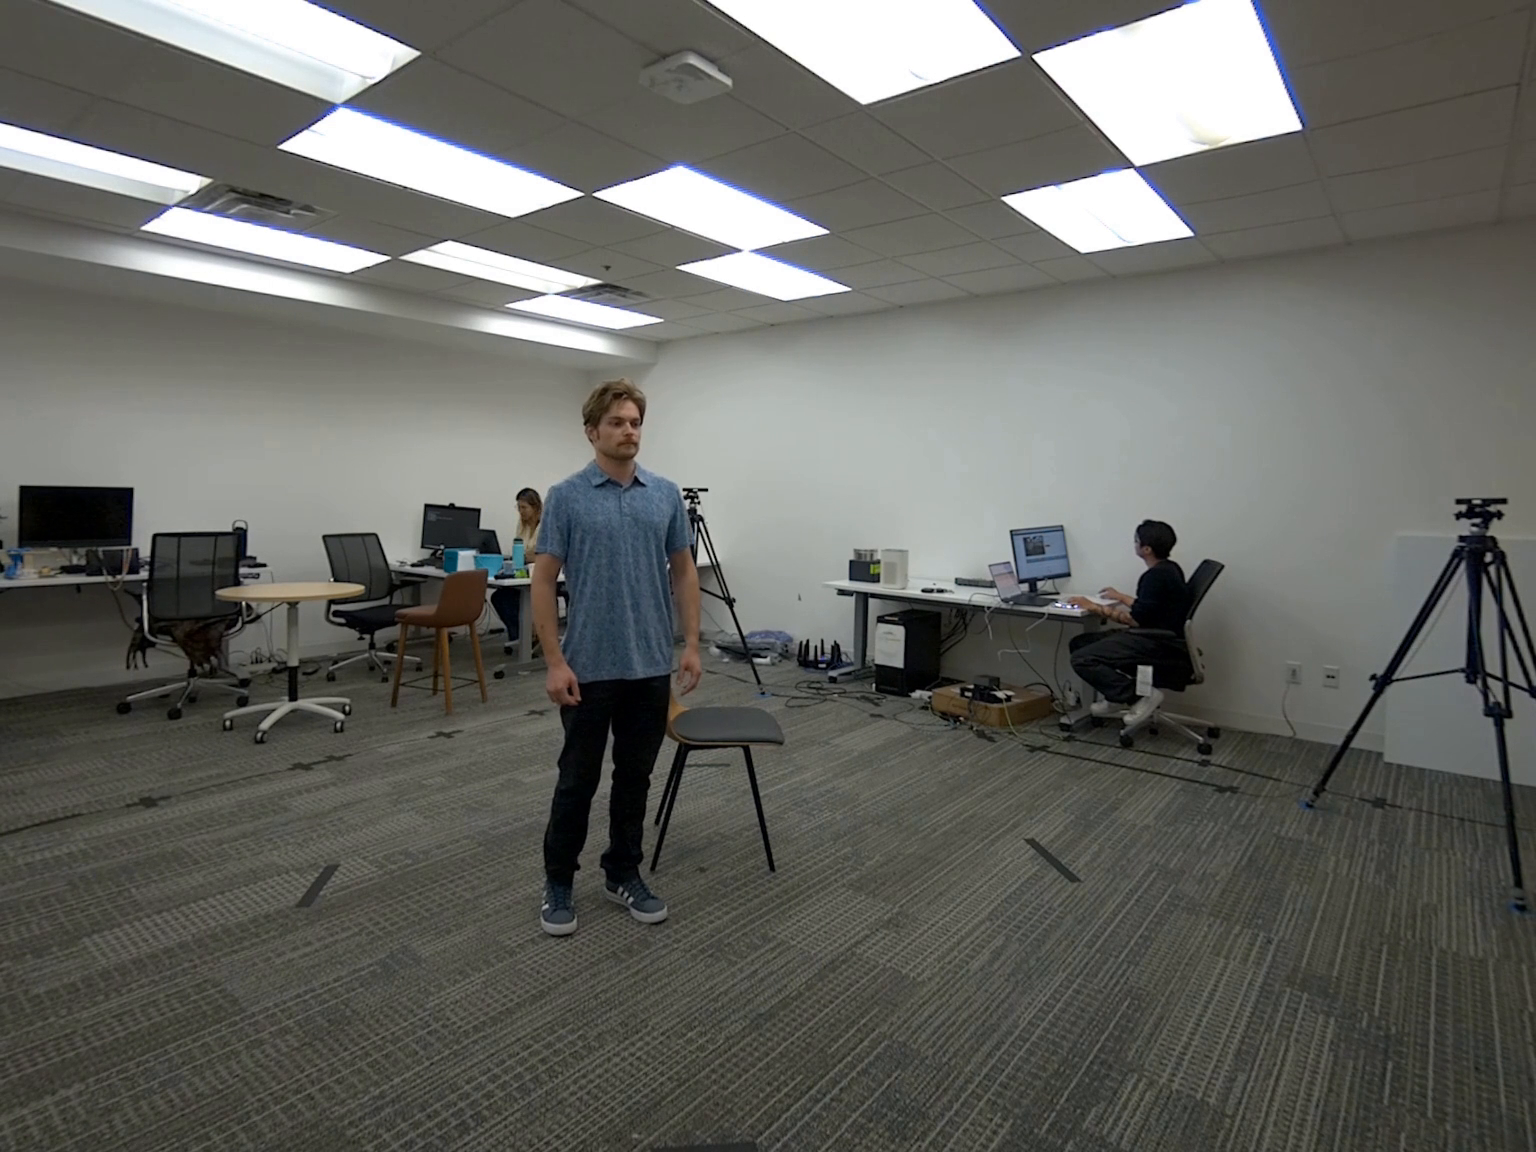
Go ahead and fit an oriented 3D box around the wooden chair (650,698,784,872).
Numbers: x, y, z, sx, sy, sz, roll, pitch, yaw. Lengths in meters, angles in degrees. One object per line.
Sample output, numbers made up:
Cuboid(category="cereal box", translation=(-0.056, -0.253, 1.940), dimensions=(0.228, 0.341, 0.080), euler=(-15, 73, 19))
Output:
Cuboid(category="wooden chair", translation=(-0.213, 0.627, 3.294), dimensions=(0.521, 0.875, 0.481), euler=(-3, 3, -4))
